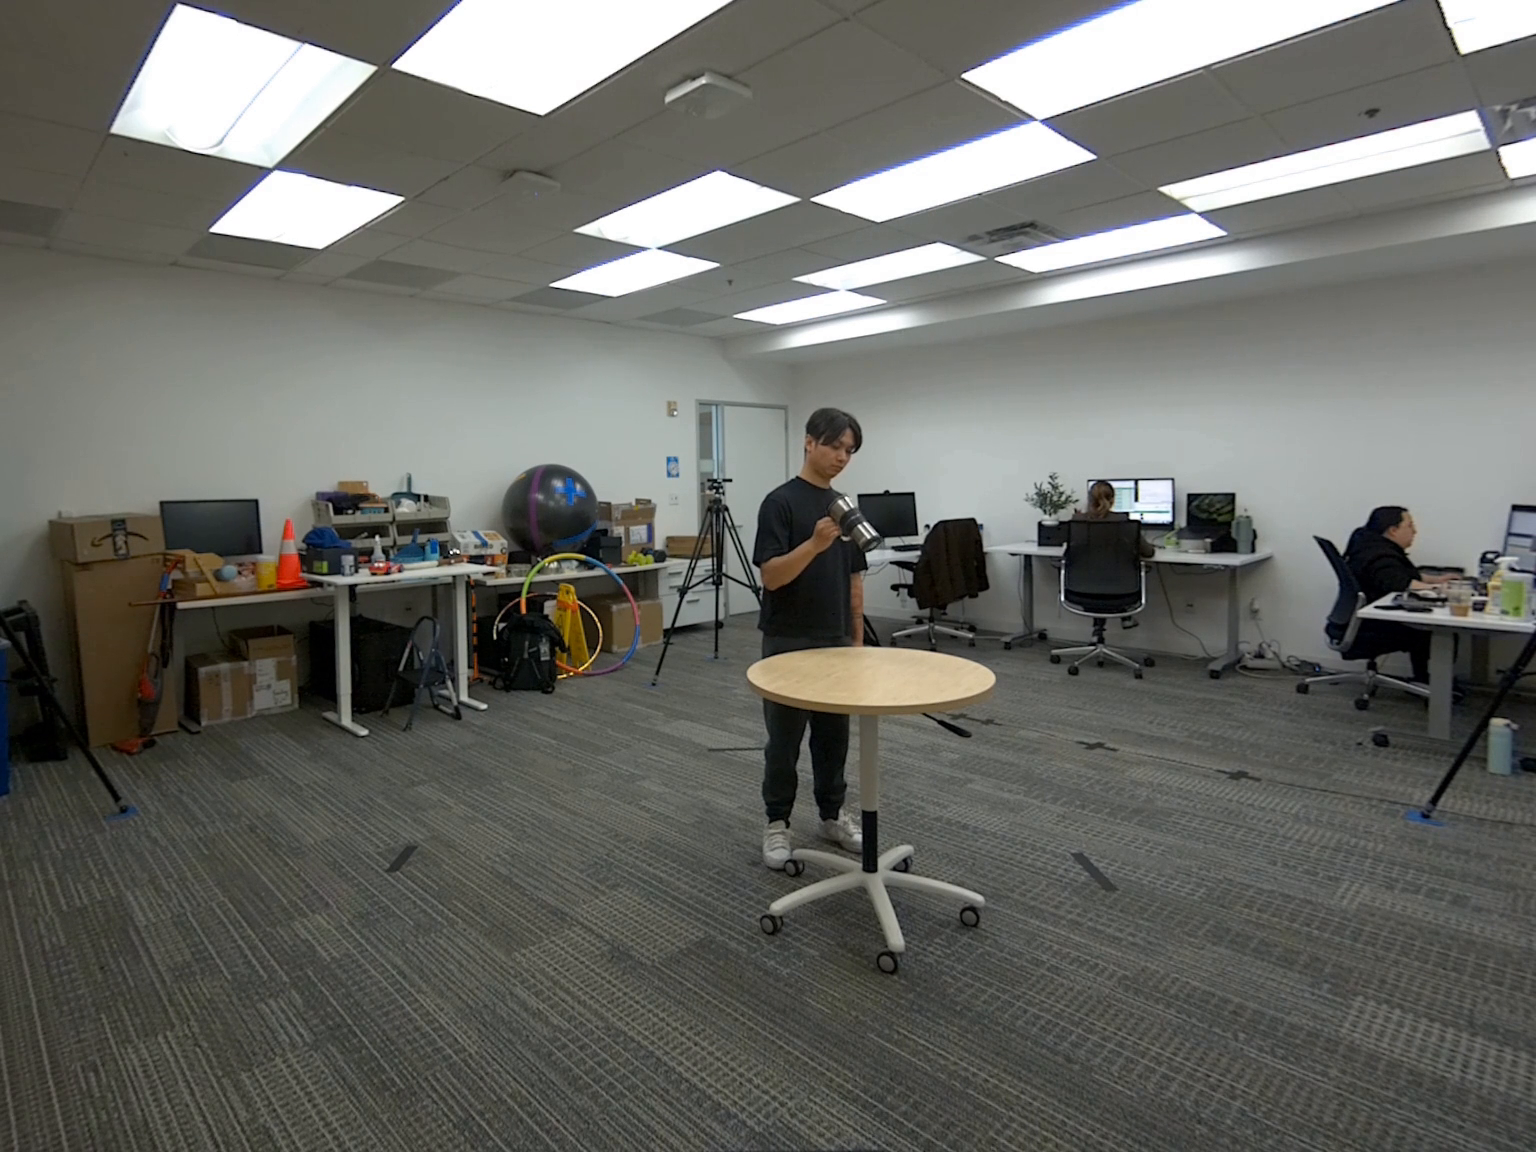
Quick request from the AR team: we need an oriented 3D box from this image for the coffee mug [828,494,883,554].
[{"bbox_3d":[0.276,-0.154,2.767,0.087,0.209,0.119,-27,-27,-19],"label":"coffee mug"}]
